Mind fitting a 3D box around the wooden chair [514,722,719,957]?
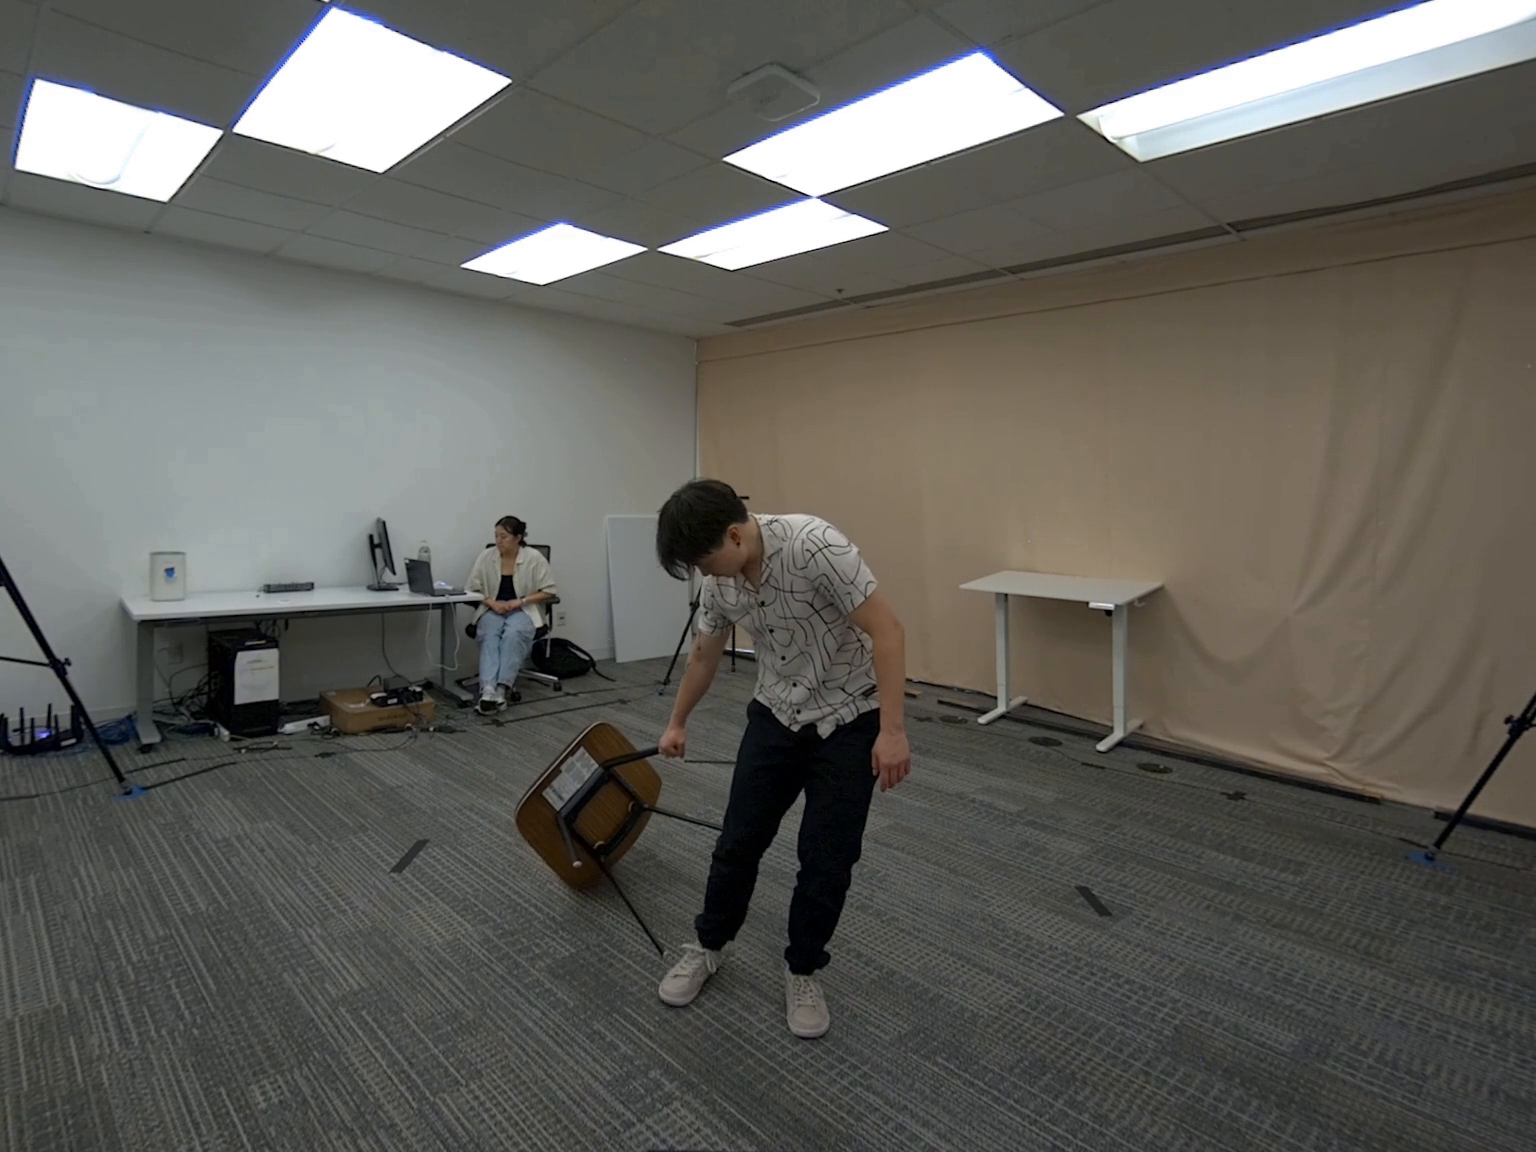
[{"bbox_3d":[-0.562,0.805,2.847,0.478,0.513,0.895,-47,23,-26],"label":"wooden chair"}]
